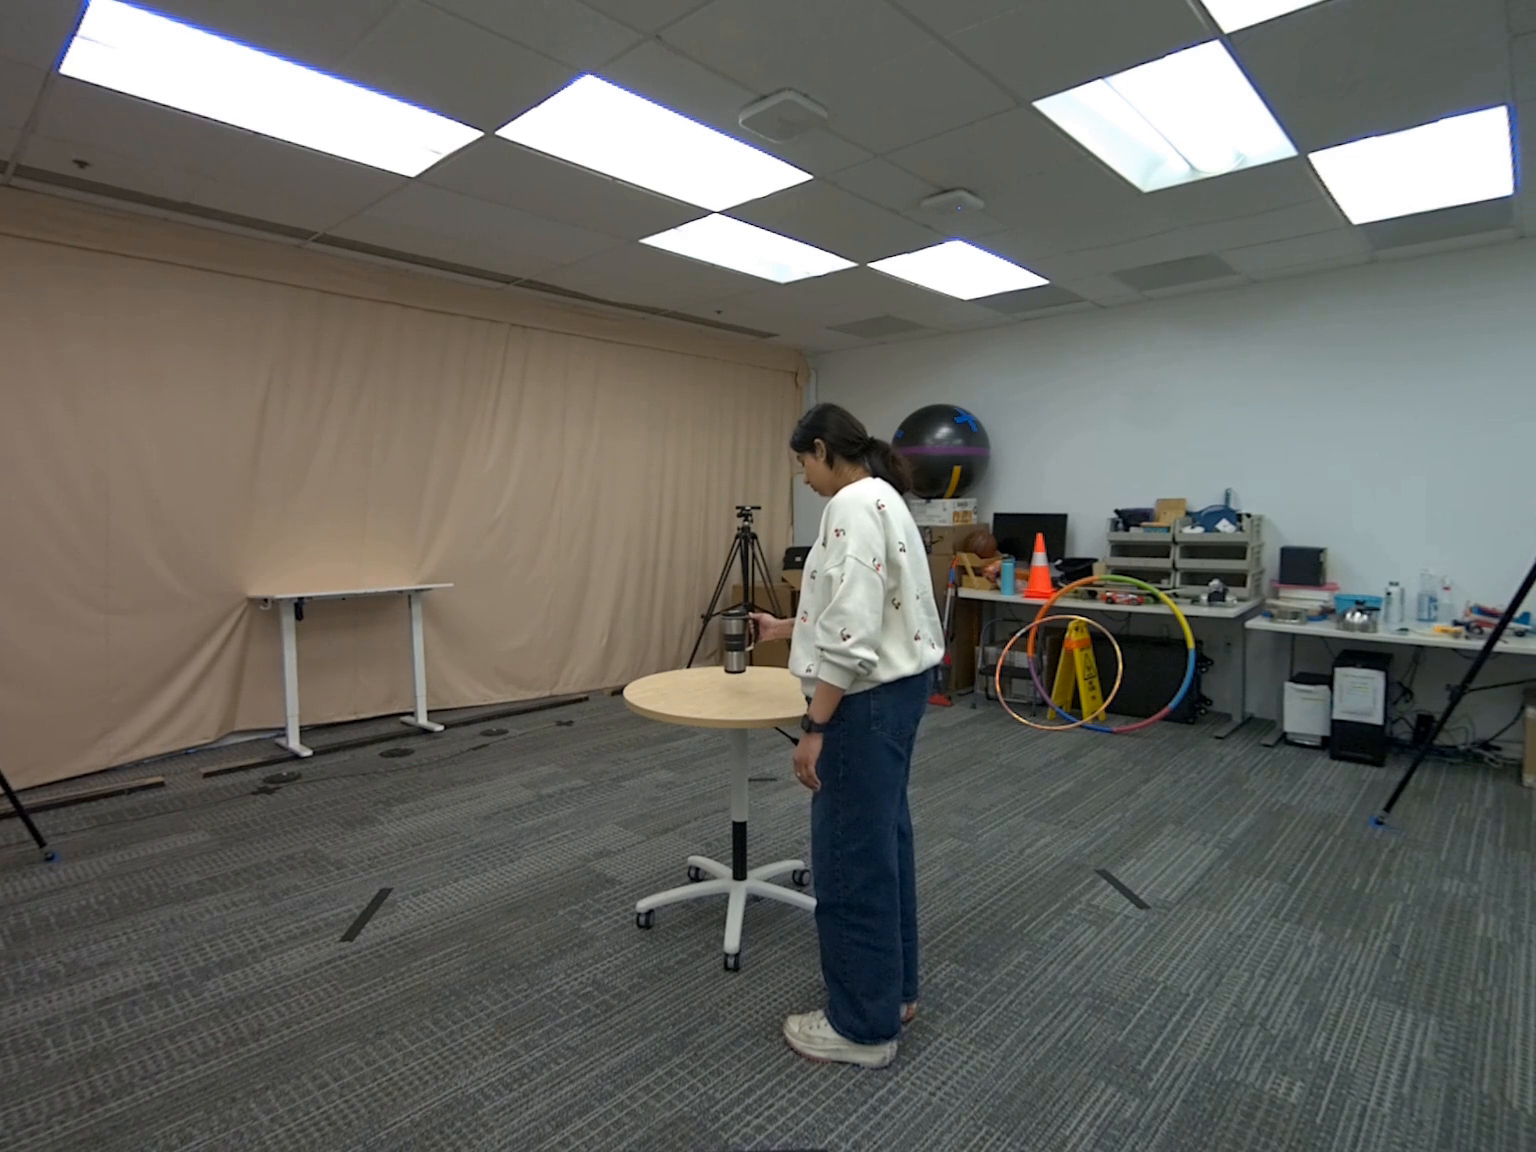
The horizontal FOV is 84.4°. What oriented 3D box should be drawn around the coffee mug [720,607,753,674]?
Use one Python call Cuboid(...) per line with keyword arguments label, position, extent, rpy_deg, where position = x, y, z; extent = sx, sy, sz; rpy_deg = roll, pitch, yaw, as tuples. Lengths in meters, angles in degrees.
Cuboid(label="coffee mug", position=(-0.088, 0.219, 2.732), extent=(0.085, 0.203, 0.126), rpy_deg=(0, -1, -41))
